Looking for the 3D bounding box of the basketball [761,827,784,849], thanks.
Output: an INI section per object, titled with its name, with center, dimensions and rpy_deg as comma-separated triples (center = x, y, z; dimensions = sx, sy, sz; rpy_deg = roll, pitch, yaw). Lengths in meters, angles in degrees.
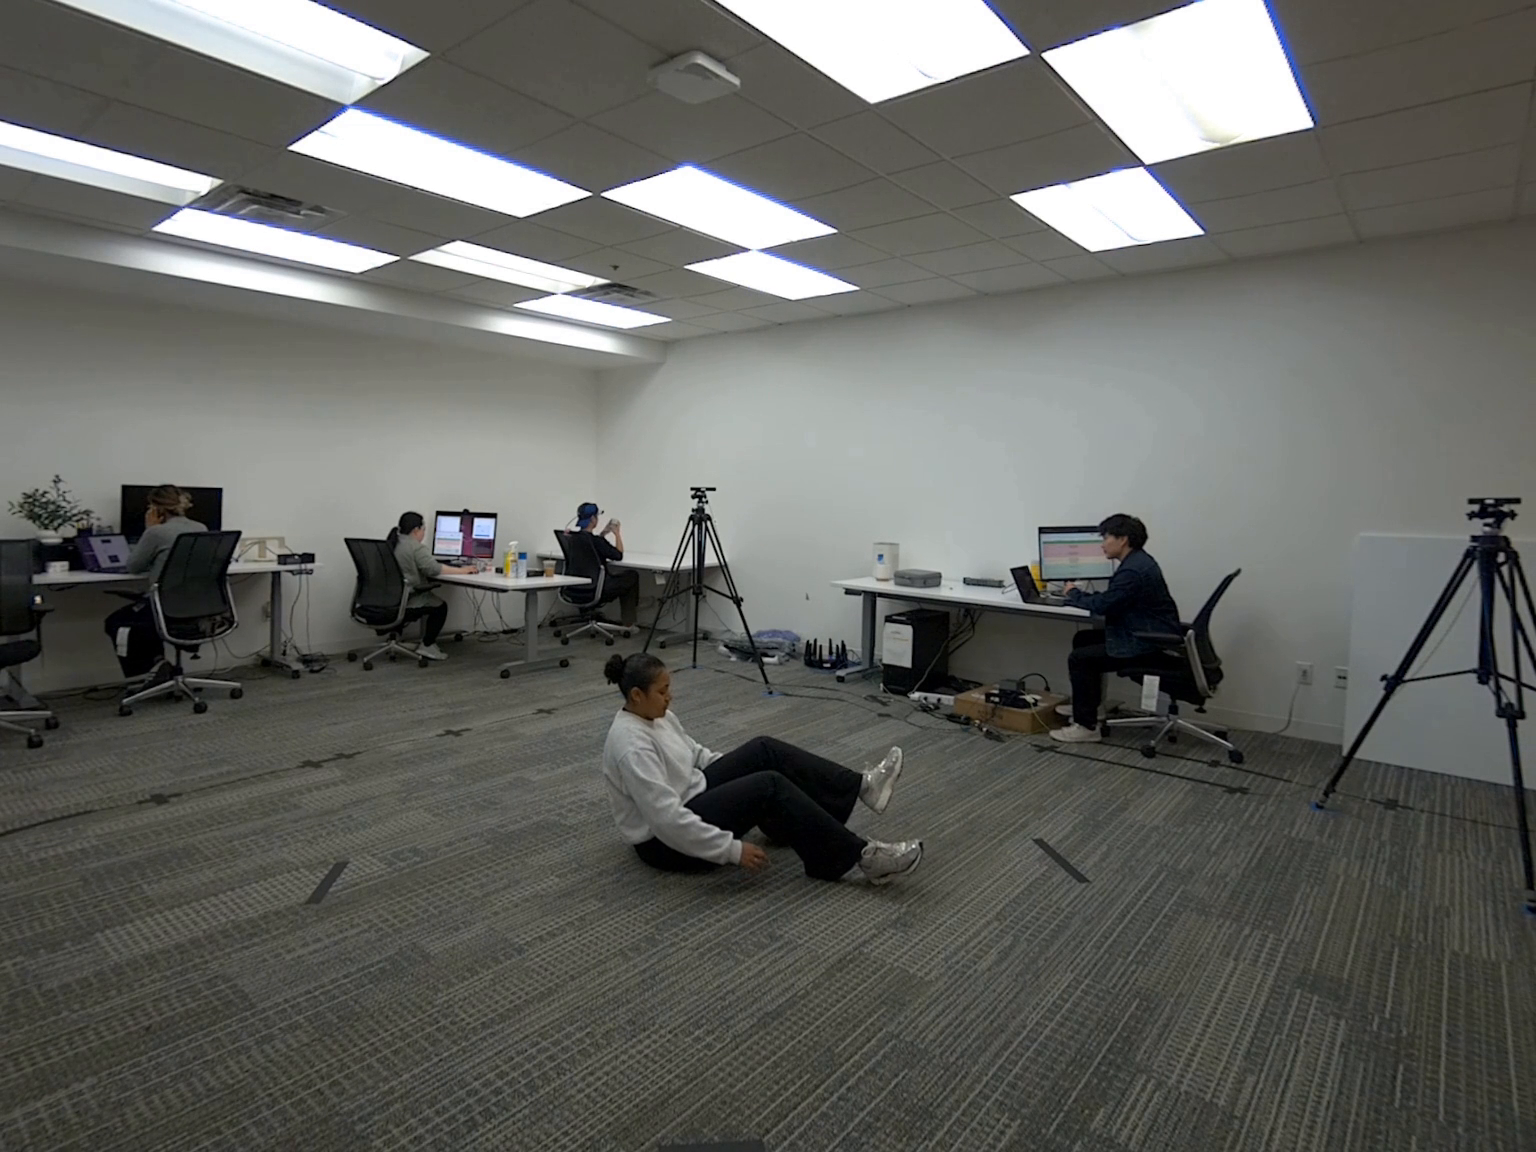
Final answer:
[basketball]
center = 0.050, 0.924, 3.365
dimensions = 0.235, 0.235, 0.237
rpy_deg = 1, 4, -2
